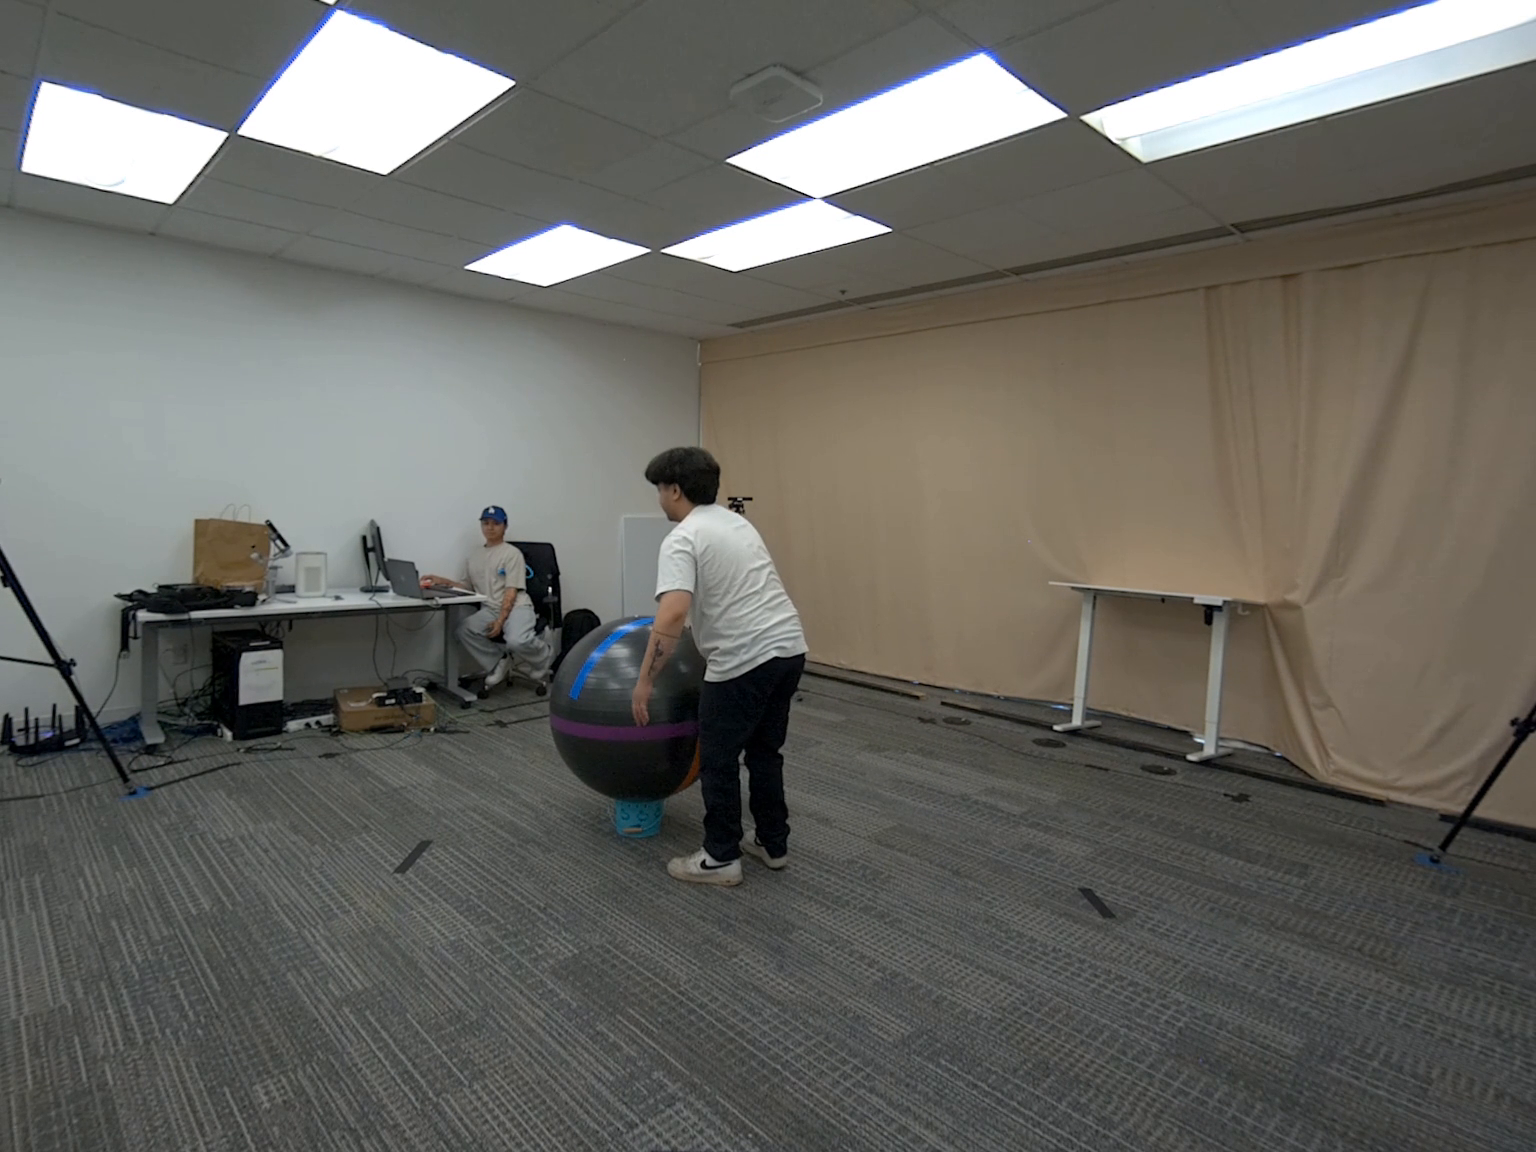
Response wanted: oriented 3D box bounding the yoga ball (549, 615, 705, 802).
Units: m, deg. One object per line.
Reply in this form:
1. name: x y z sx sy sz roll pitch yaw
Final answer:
1. yoga ball: -0.538 0.549 3.522 0.757 0.756 0.761 1 4 -1
